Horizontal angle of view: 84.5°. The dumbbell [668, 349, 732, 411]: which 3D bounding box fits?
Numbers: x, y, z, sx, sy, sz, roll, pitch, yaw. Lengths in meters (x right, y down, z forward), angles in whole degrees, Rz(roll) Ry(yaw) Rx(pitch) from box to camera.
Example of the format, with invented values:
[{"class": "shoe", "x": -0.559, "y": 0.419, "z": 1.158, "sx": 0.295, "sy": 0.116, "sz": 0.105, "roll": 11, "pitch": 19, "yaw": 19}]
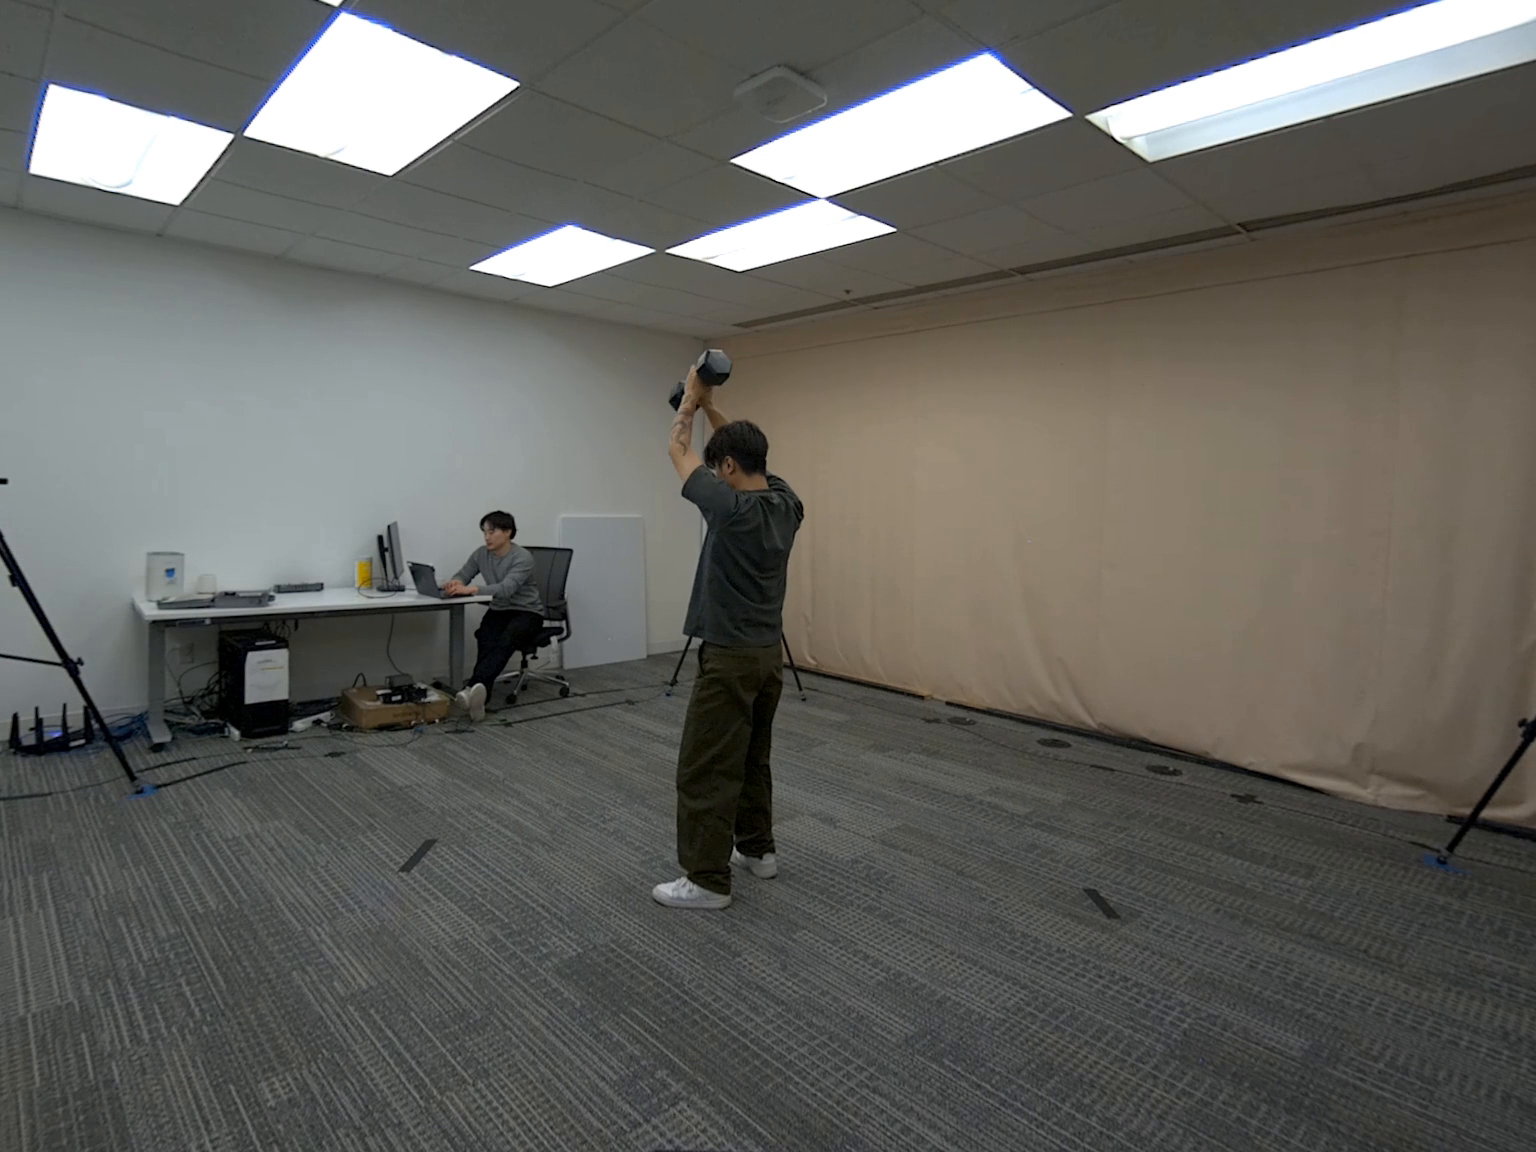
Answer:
[{"class": "dumbbell", "x": -0.254, "y": -0.686, "z": 3.020, "sx": 0.108, "sy": 0.122, "sz": 0.295, "roll": -47, "pitch": 8, "yaw": -38}]
